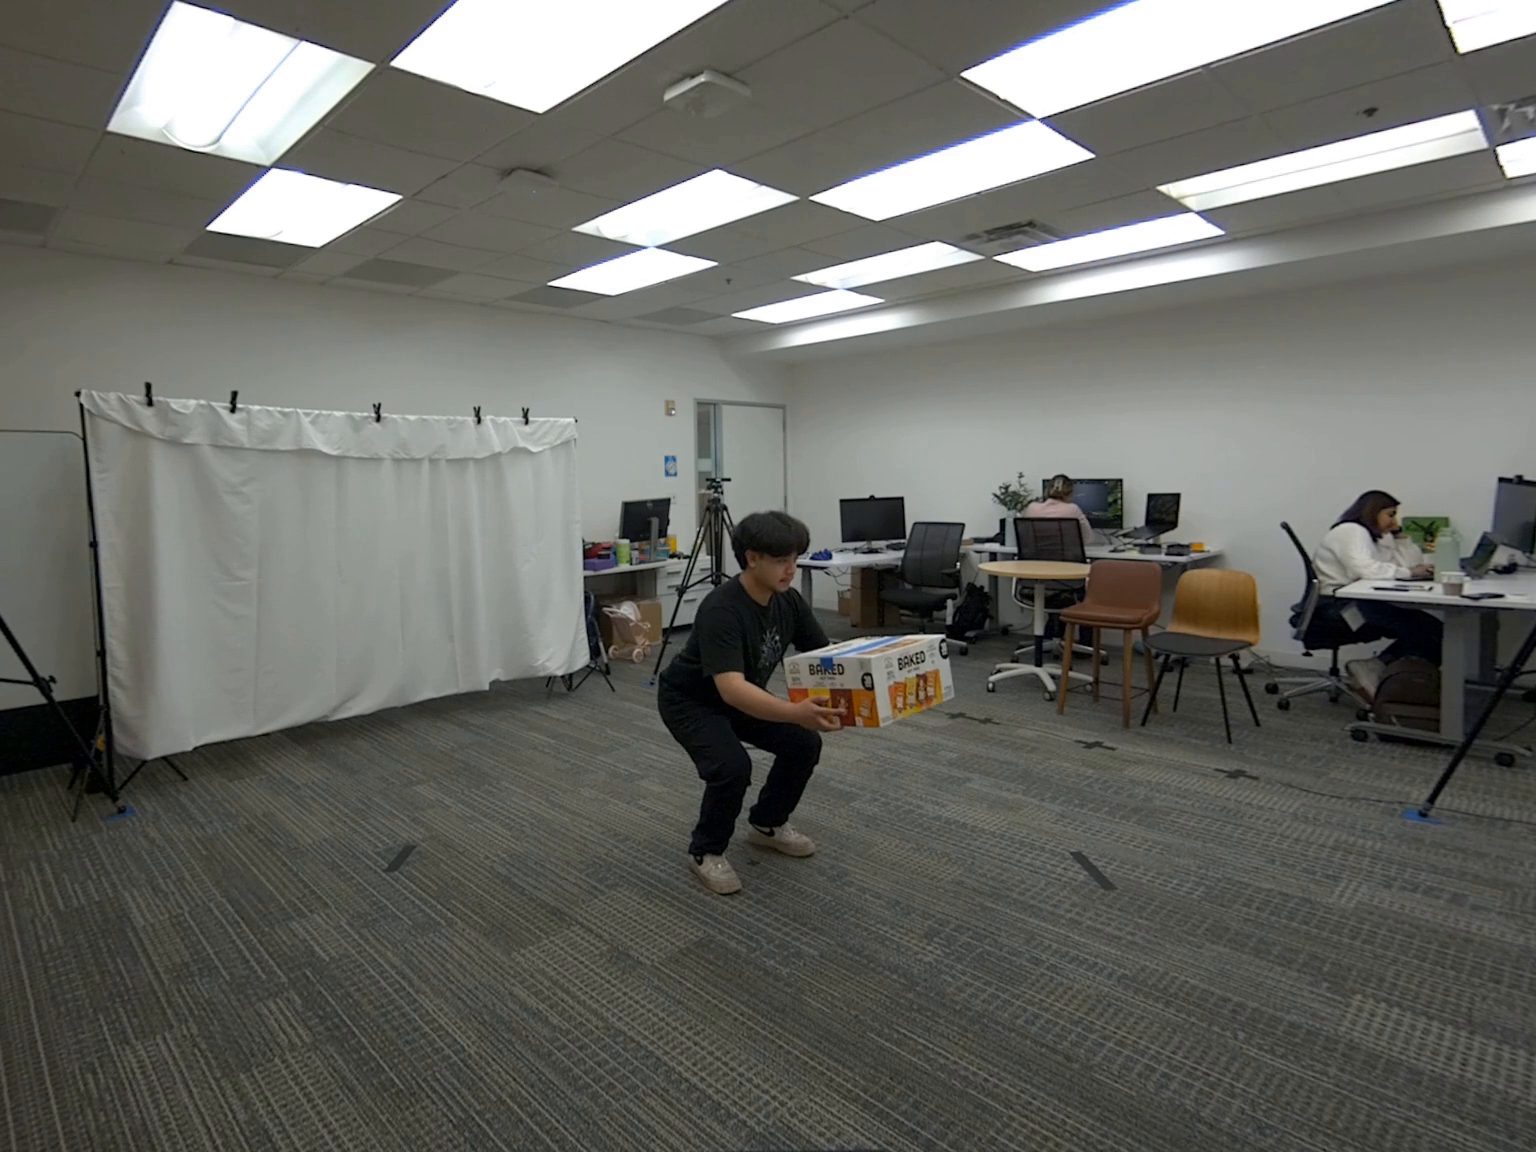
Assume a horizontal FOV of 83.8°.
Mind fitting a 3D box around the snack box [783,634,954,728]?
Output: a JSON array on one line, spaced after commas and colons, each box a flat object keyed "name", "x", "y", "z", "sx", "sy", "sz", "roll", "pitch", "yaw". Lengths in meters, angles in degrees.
[{"name": "snack box", "x": 0.318, "y": 0.322, "z": 2.678, "sx": 0.349, "sy": 0.206, "sz": 0.395, "roll": -7, "pitch": 1, "yaw": 44}]
